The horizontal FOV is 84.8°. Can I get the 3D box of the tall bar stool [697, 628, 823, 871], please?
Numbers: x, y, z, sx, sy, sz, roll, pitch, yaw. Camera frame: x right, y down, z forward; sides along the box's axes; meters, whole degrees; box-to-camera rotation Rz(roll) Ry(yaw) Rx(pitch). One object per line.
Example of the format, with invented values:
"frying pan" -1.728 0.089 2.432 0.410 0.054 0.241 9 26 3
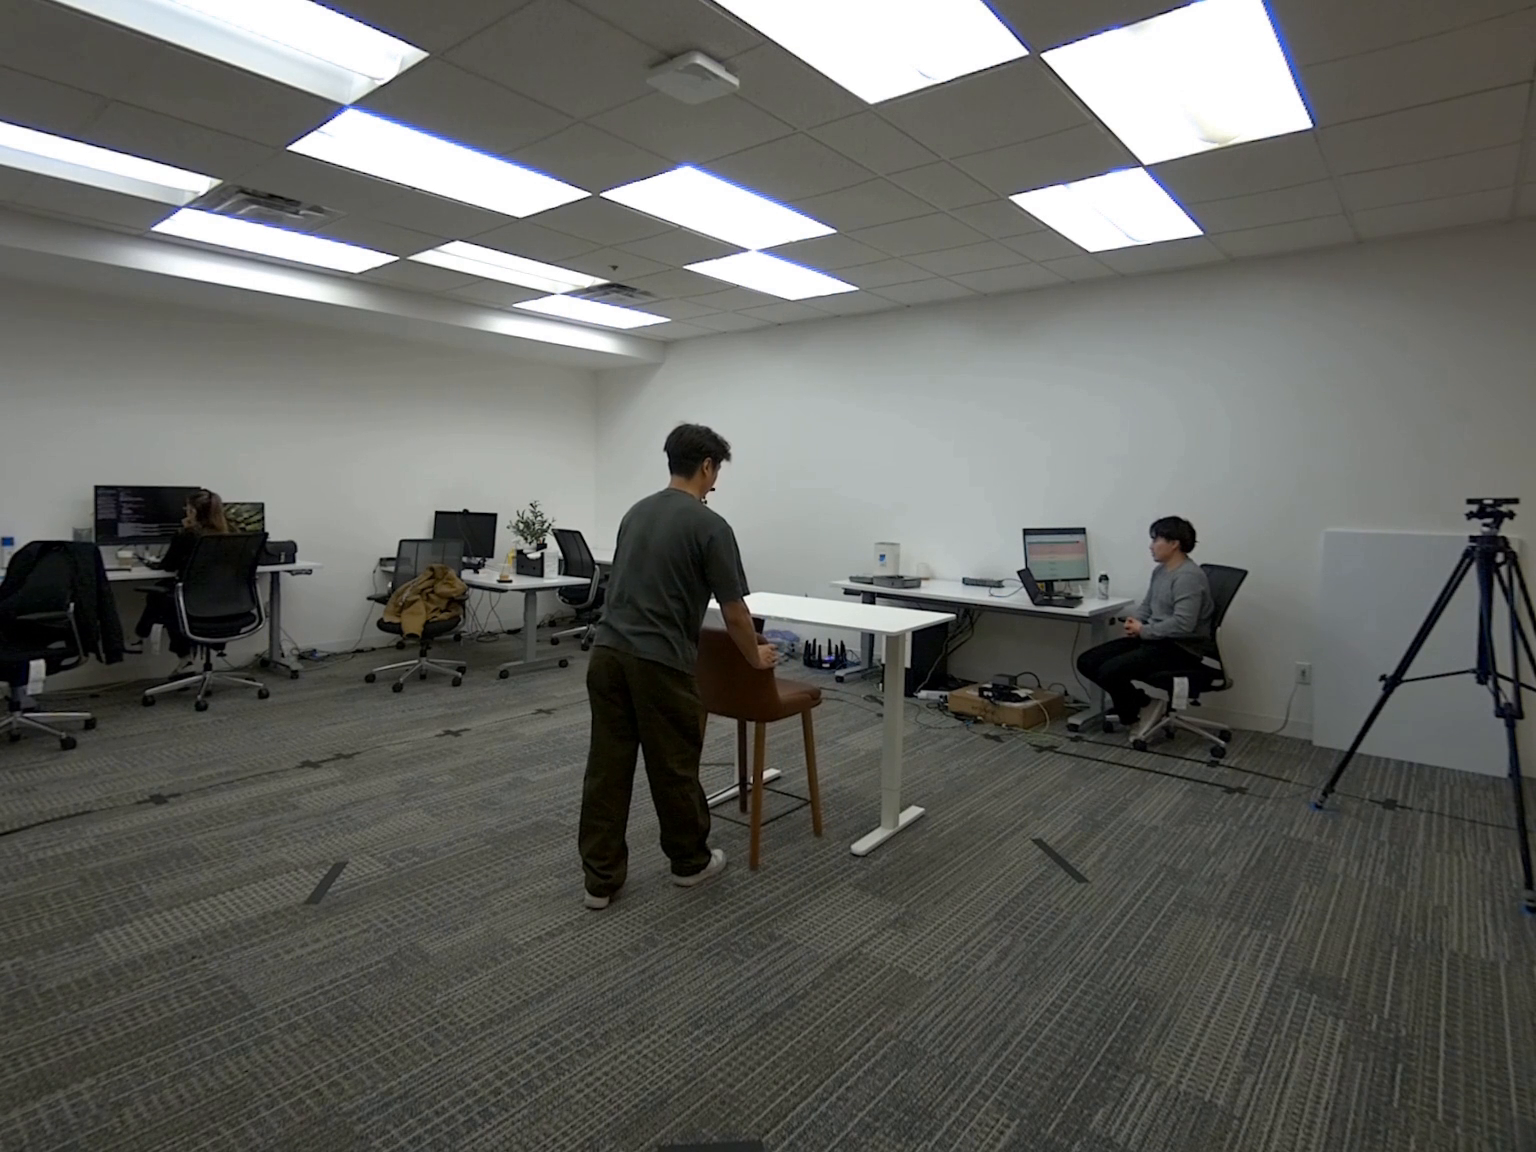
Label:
"tall bar stool" -0.076 0.603 3.352 0.472 0.885 0.455 4 7 38
